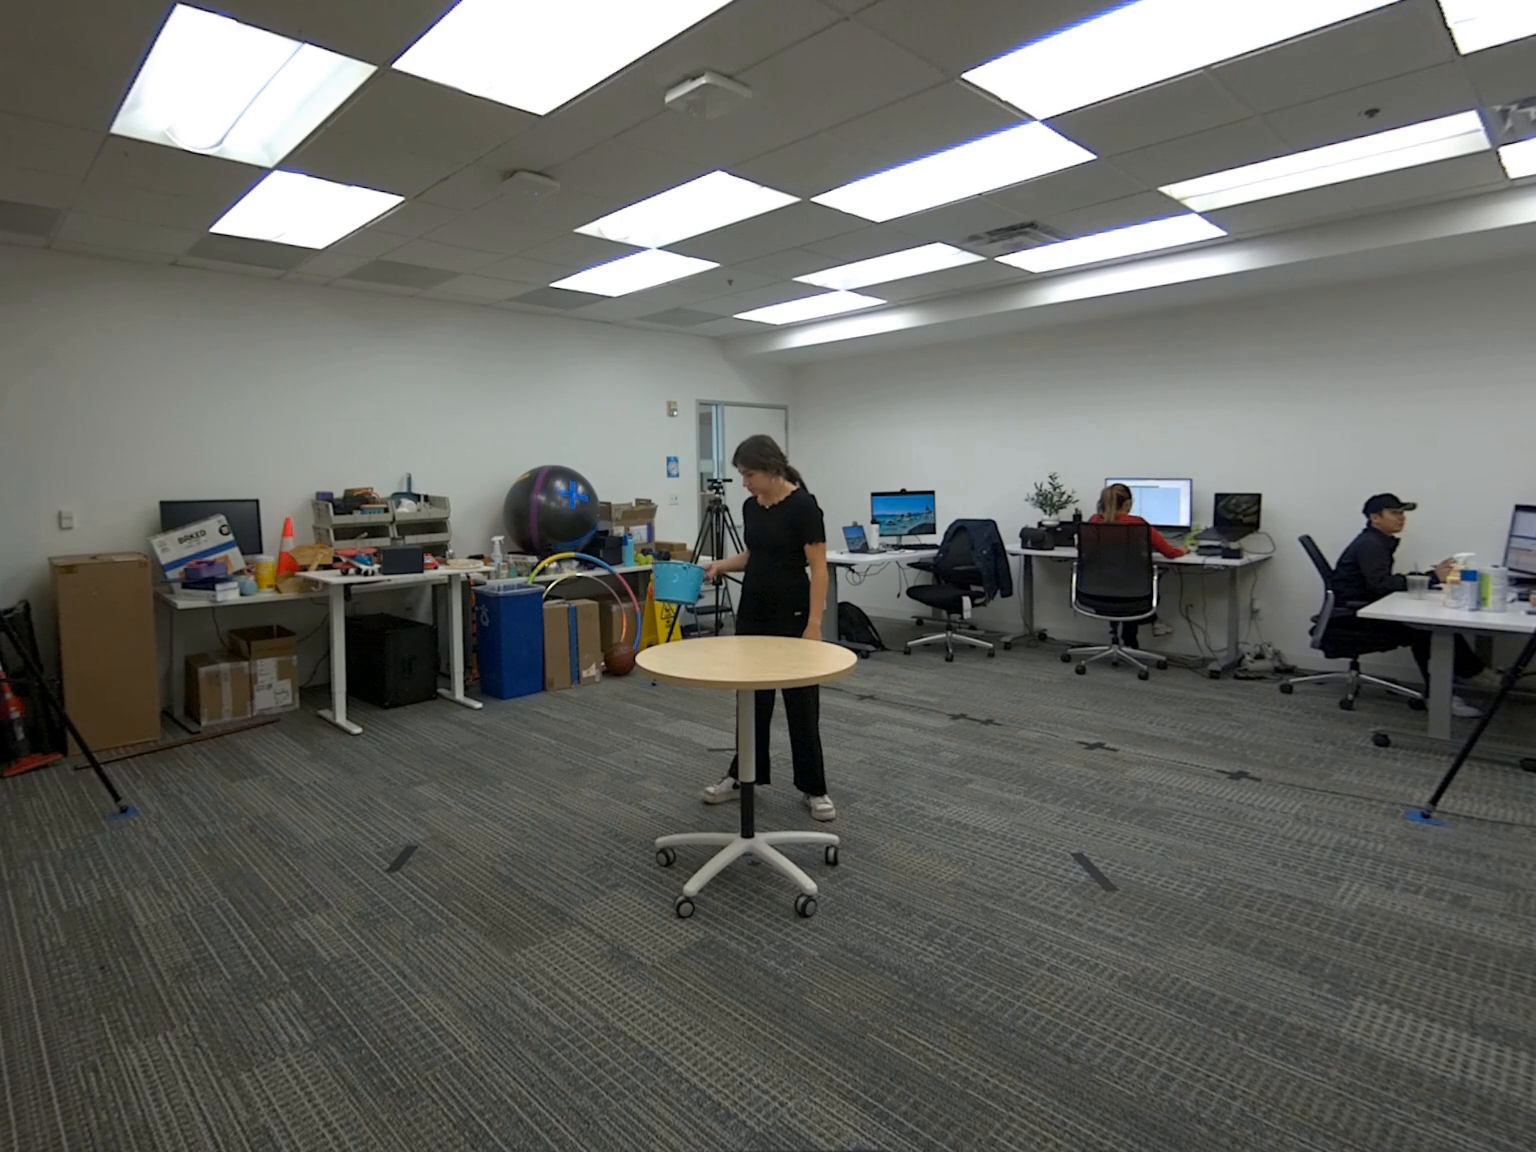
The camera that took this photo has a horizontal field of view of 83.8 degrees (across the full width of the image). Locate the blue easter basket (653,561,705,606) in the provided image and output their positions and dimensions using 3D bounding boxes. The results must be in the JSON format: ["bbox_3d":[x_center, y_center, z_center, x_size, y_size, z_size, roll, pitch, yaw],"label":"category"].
[{"bbox_3d":[-0.383,0.032,3.580,0.243,0.157,0.242,5,-8,-1],"label":"blue easter basket"}]
